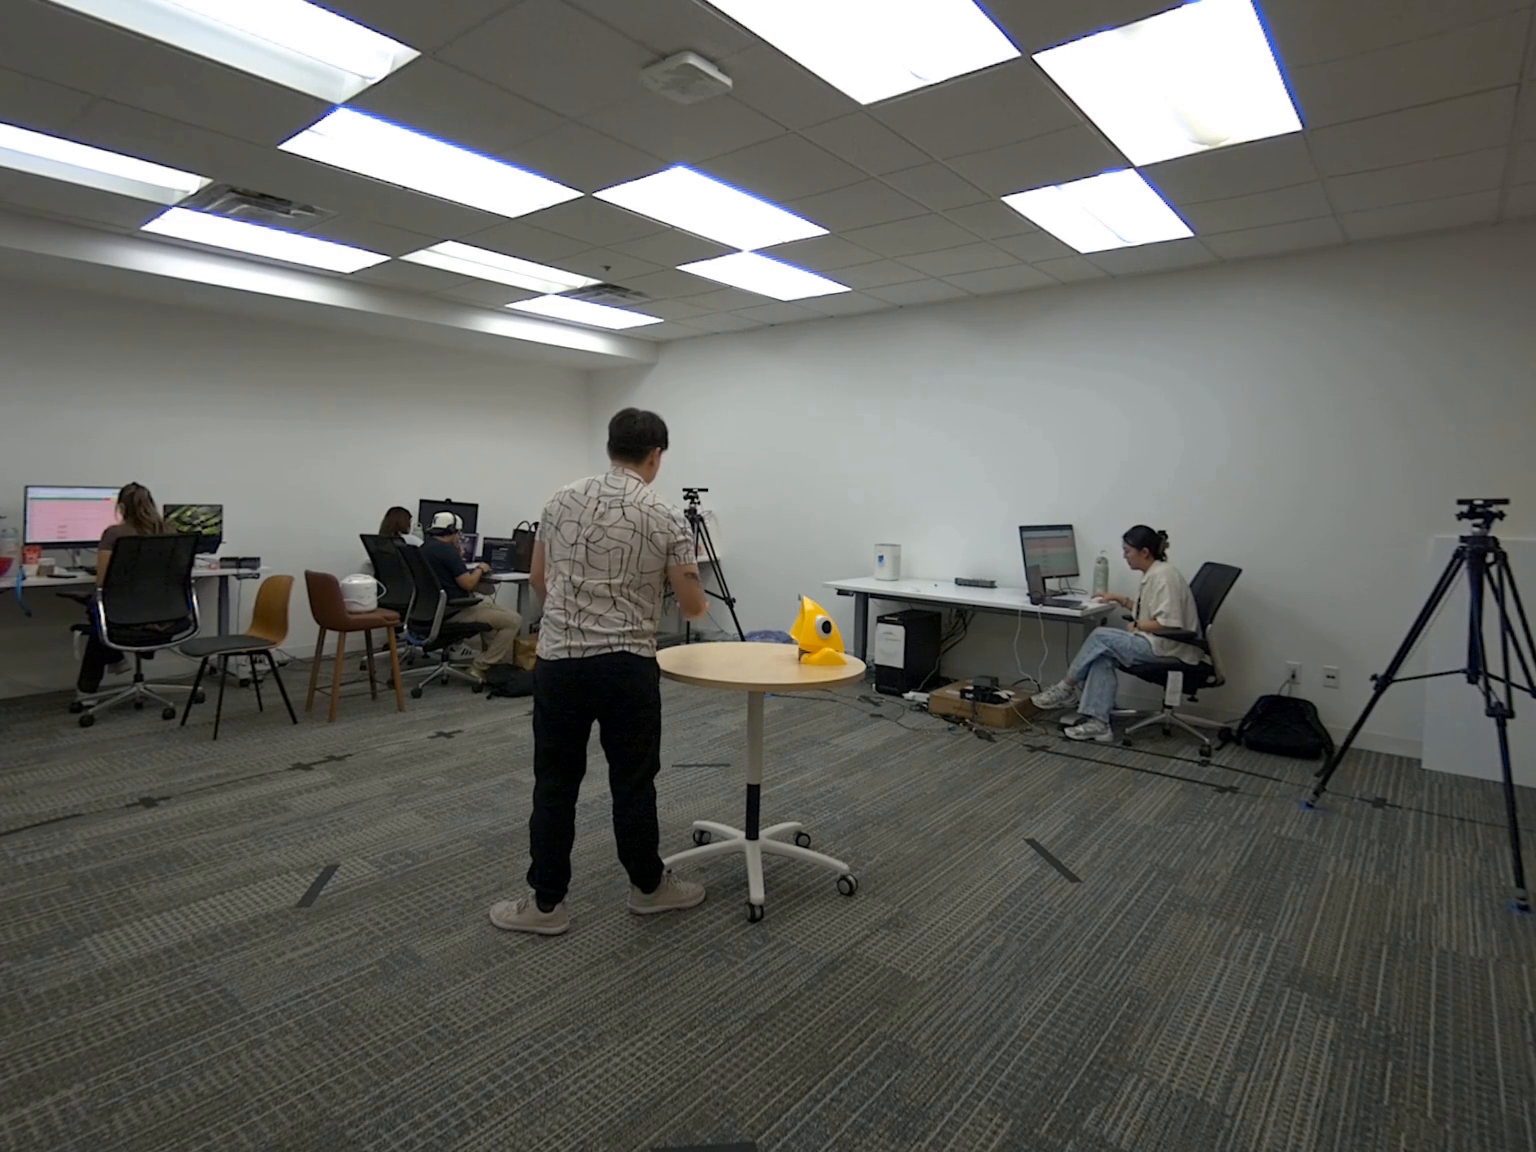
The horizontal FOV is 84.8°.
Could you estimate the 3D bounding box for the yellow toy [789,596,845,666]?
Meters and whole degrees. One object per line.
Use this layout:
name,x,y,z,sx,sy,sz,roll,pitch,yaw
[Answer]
yellow toy,0.179,0.186,3.059,0.192,0.230,0.207,1,3,-8
